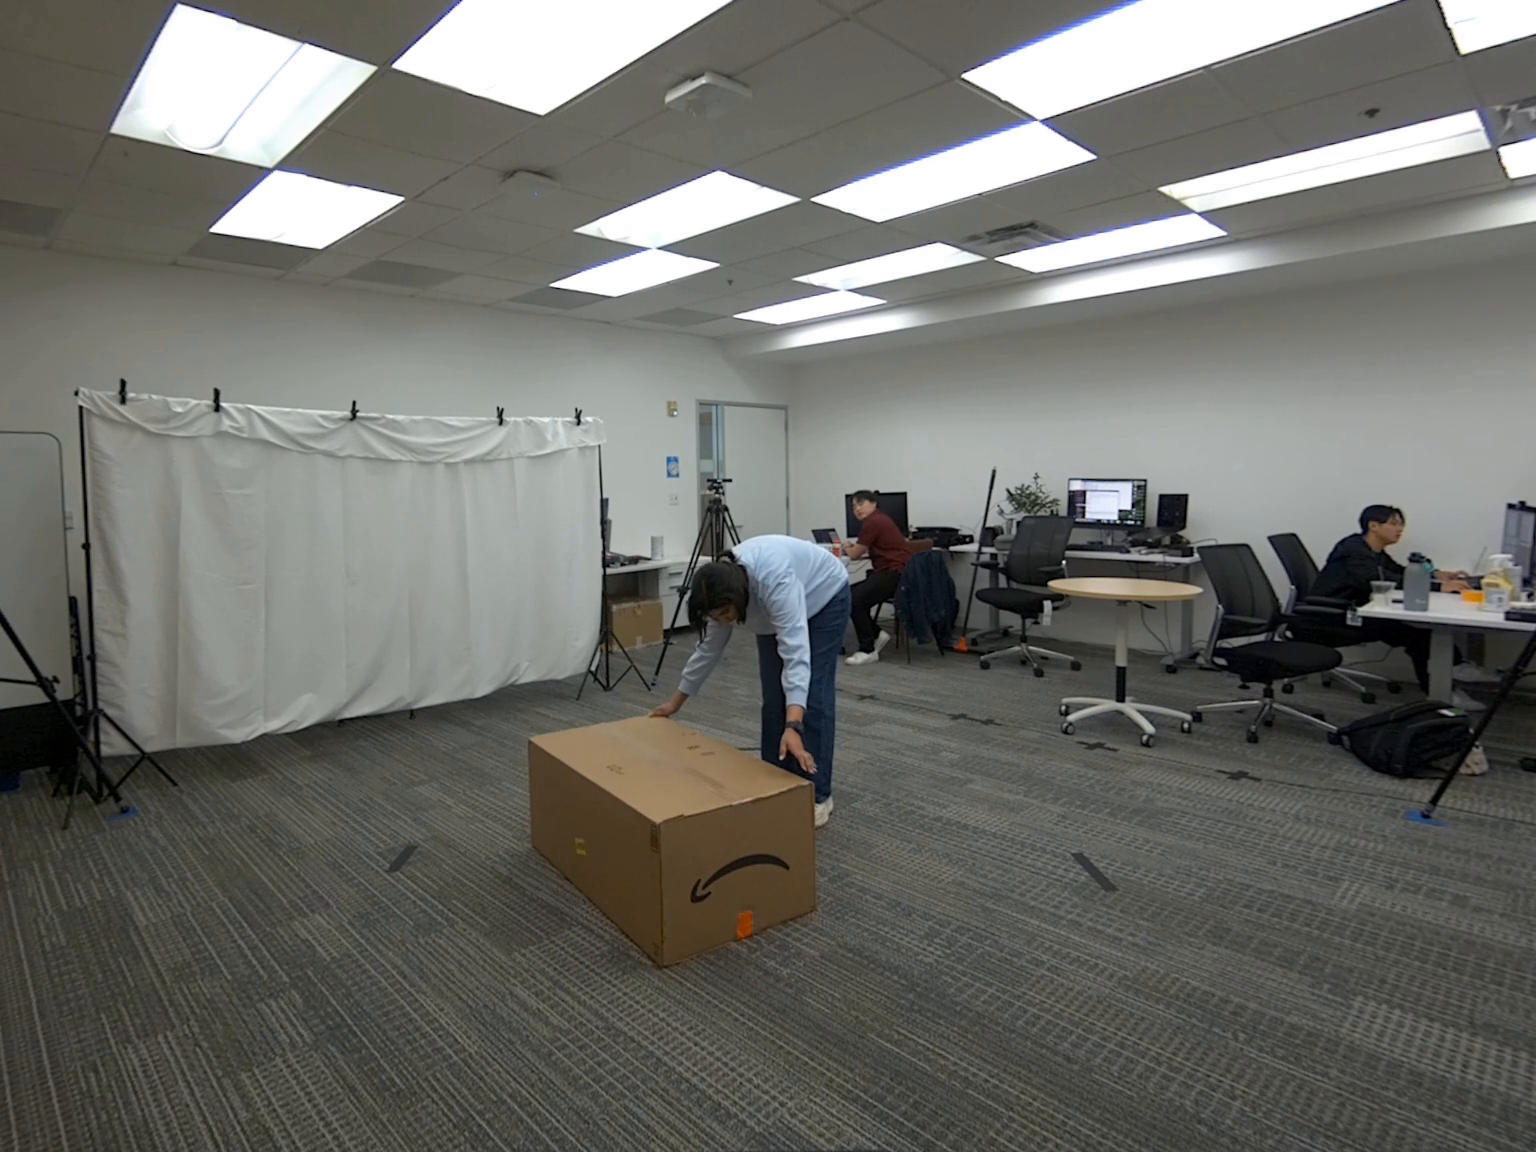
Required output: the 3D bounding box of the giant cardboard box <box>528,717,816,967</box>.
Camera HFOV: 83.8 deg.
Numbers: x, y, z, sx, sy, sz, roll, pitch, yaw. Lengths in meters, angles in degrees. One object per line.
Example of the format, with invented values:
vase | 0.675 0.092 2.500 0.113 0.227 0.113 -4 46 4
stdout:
giant cardboard box | -0.382 0.853 3.011 0.563 0.424 1.056 -5 7 -35
